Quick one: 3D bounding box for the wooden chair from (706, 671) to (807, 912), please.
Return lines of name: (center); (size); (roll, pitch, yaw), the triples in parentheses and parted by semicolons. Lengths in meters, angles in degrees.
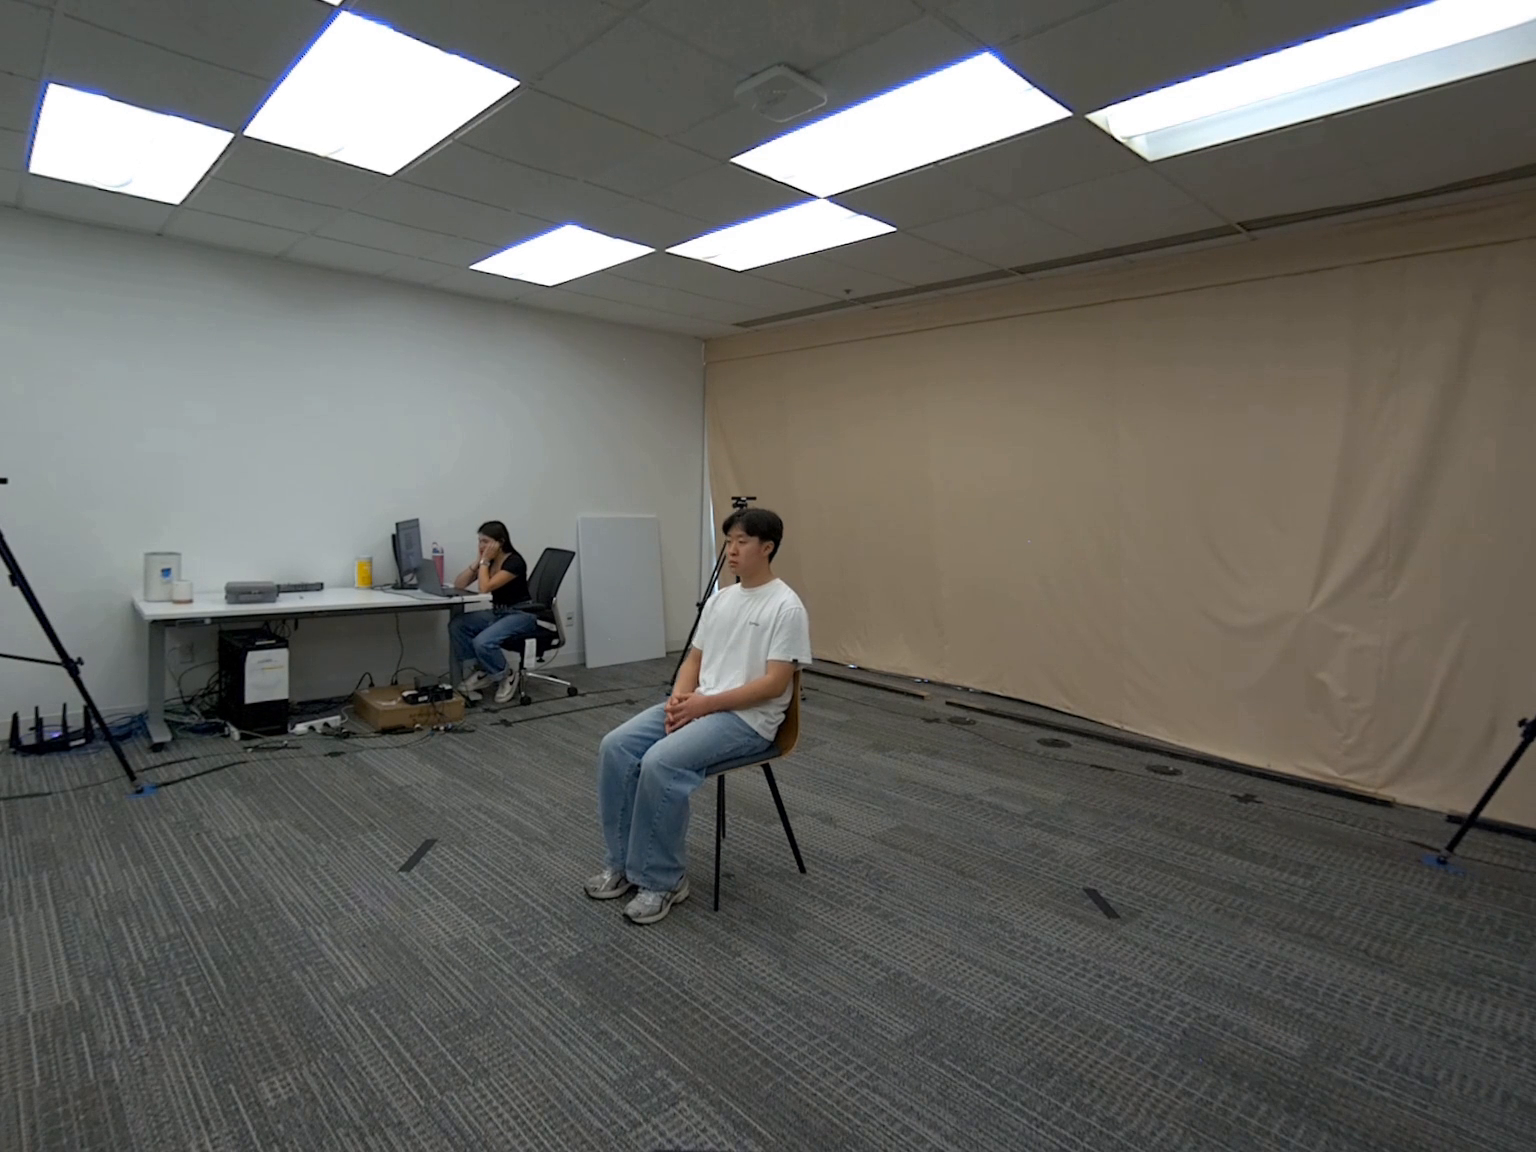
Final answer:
wooden chair: (-0.174, 0.677, 3.120); (0.510, 0.878, 0.490); (5, -1, -45)
